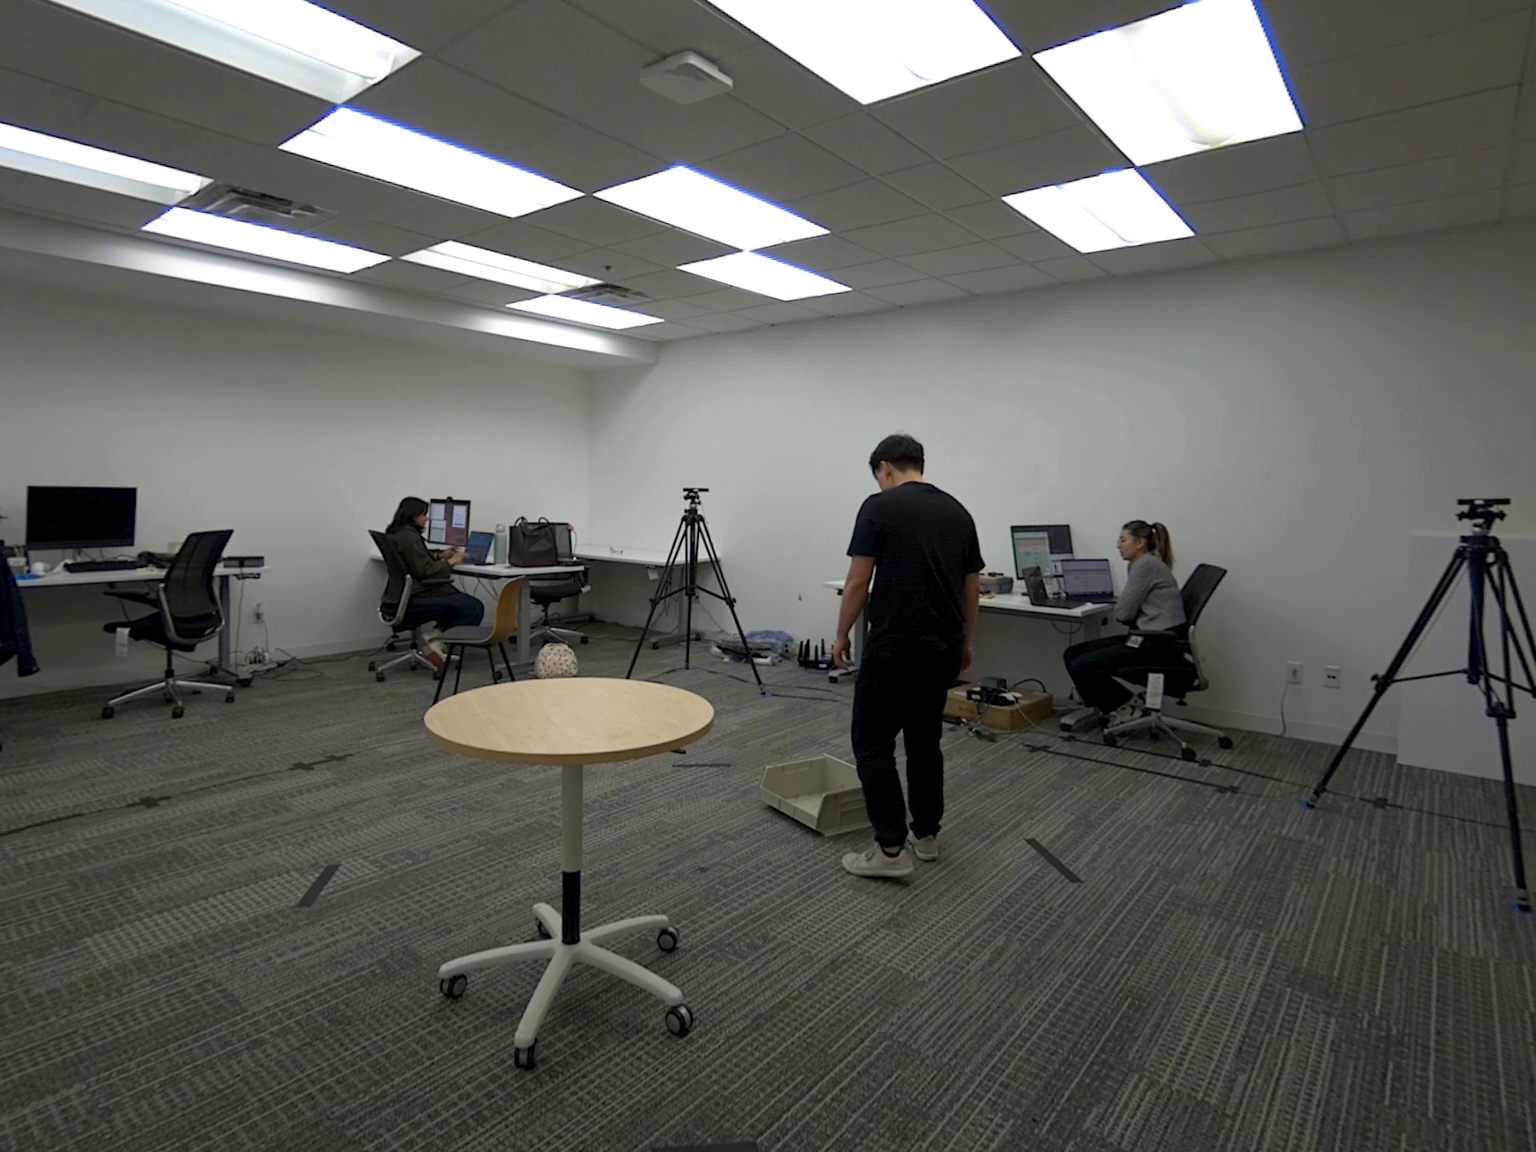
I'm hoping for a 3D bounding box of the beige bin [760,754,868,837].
[{"bbox_3d":[0.222,0.936,3.669,0.367,0.188,0.436,-2,5,-34],"label":"beige bin"}]
